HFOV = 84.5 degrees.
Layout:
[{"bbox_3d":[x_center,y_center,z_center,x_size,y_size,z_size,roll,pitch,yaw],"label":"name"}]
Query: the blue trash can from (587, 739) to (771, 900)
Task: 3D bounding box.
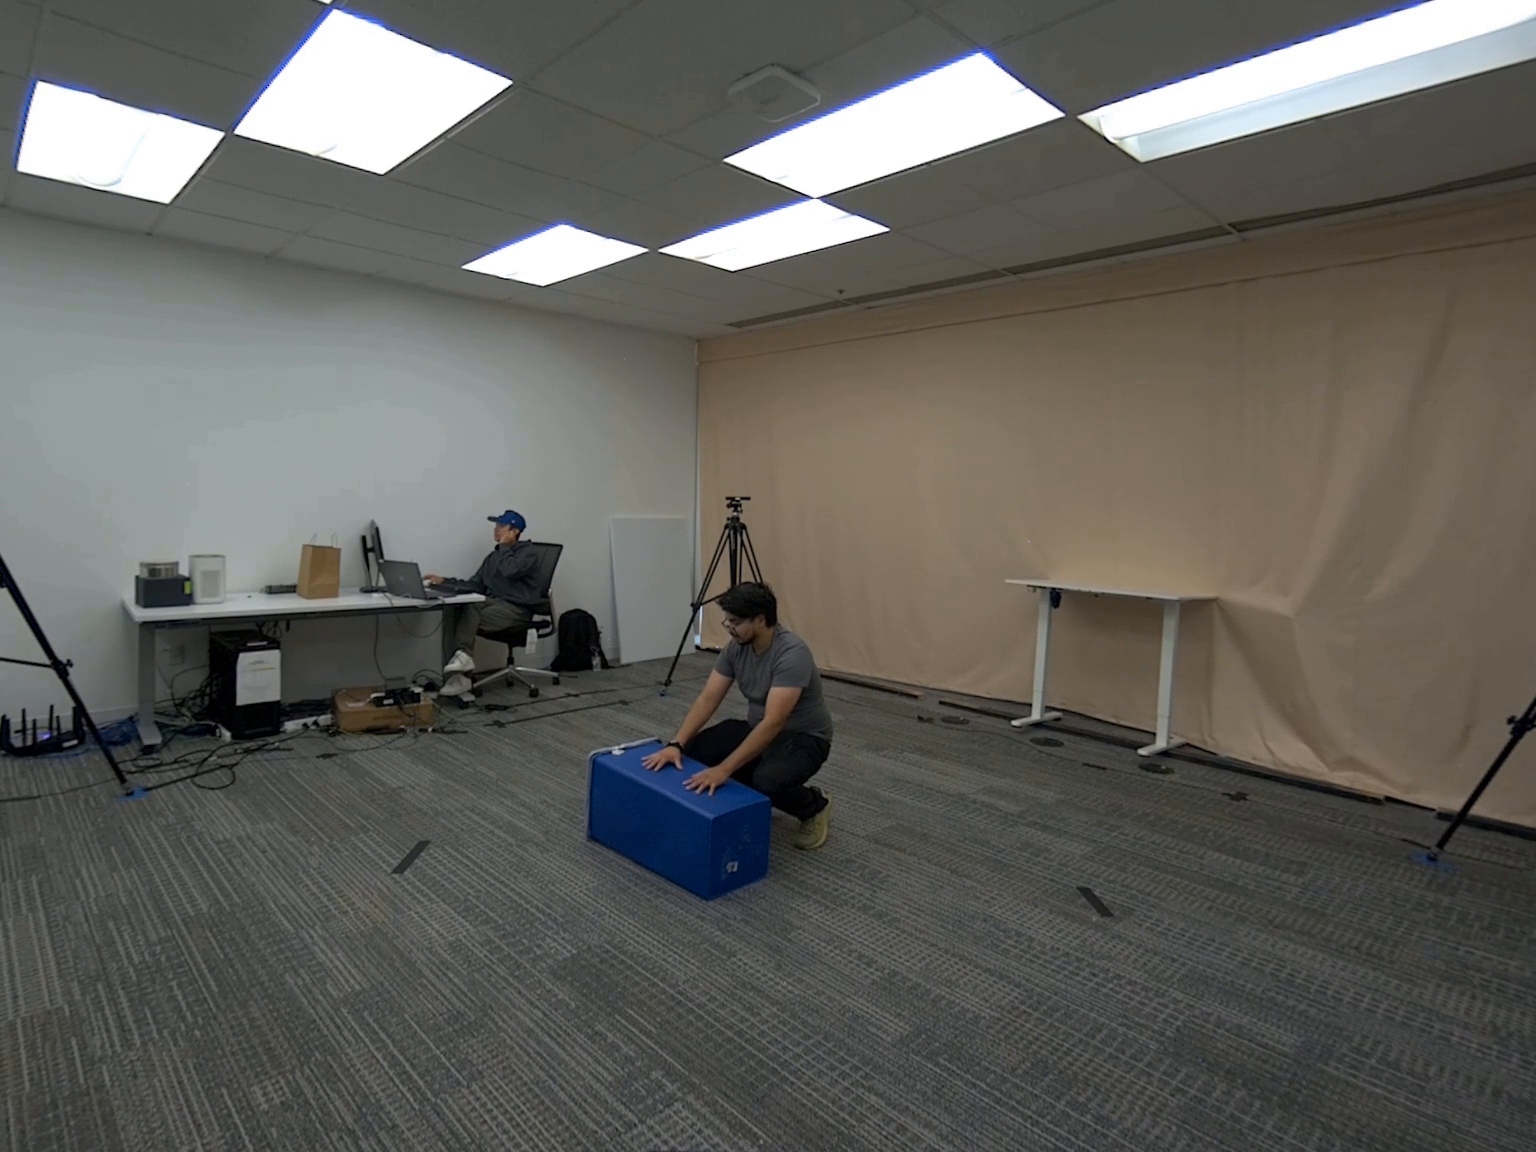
[{"bbox_3d":[-0.359,0.918,3.236,0.365,0.377,0.733,-2,8,-43],"label":"blue trash can"}]
